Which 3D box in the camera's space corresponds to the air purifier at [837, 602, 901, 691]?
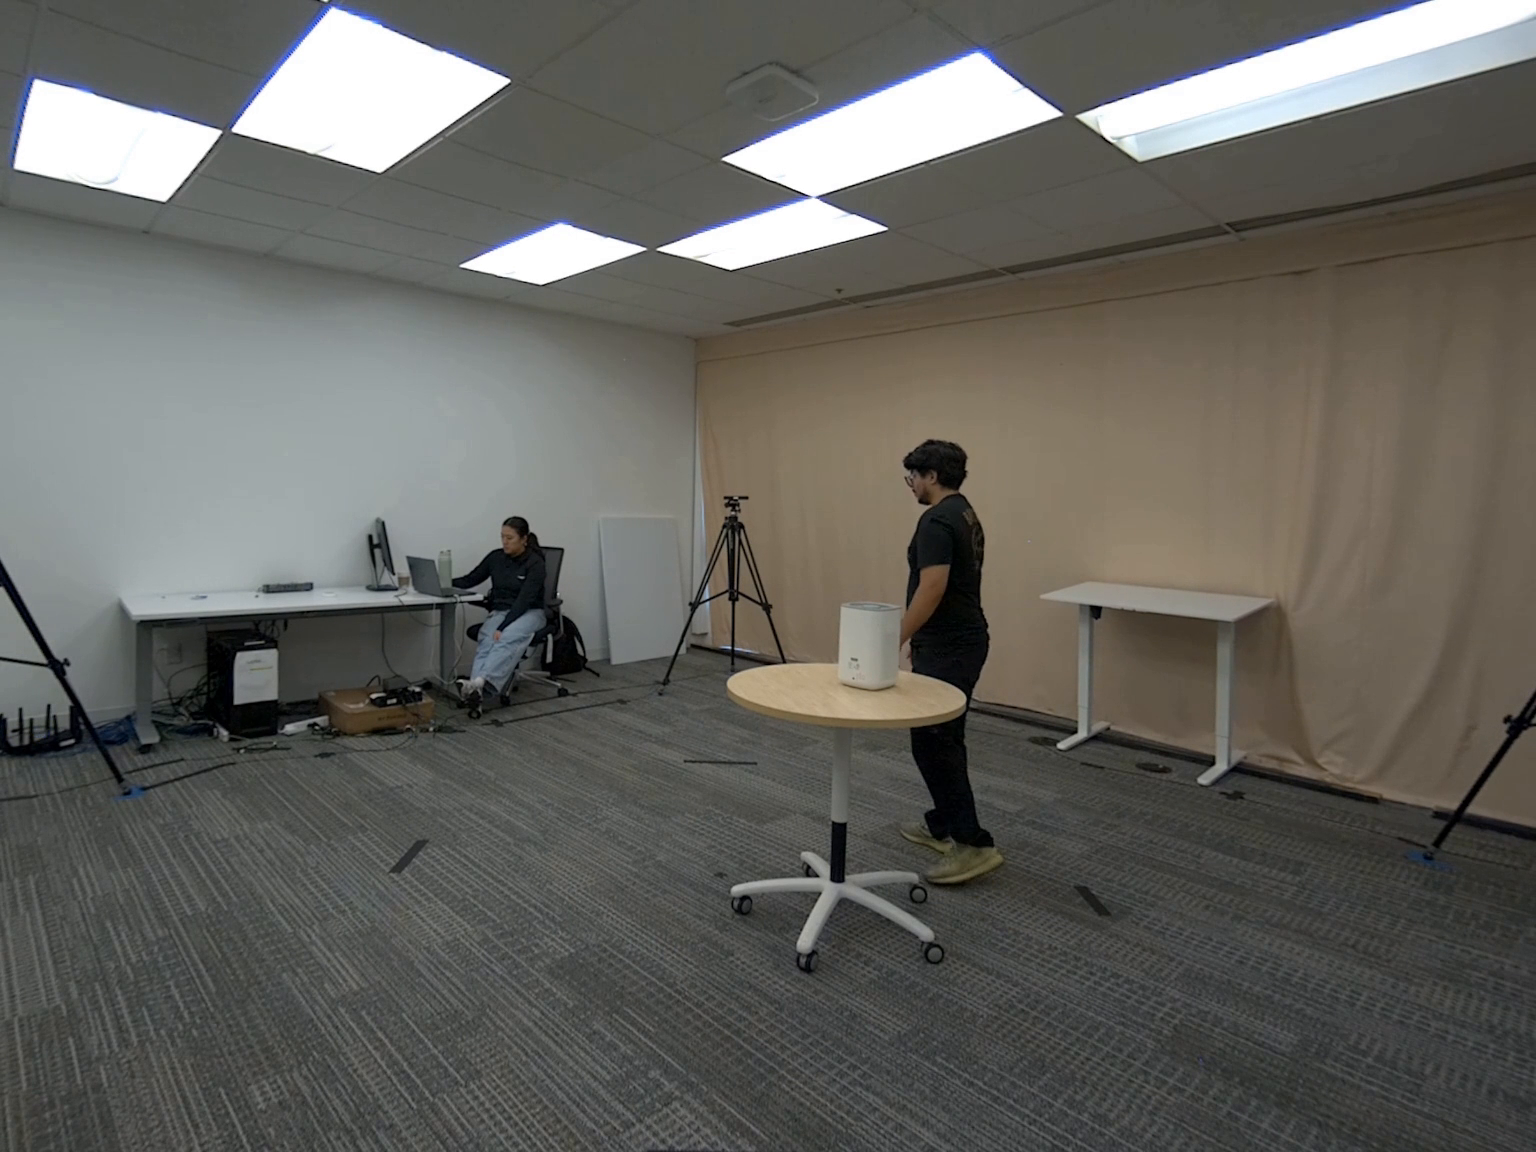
[{"bbox_3d":[0.330,0.229,2.768,0.172,0.261,0.170,7,8,41],"label":"air purifier"}]
